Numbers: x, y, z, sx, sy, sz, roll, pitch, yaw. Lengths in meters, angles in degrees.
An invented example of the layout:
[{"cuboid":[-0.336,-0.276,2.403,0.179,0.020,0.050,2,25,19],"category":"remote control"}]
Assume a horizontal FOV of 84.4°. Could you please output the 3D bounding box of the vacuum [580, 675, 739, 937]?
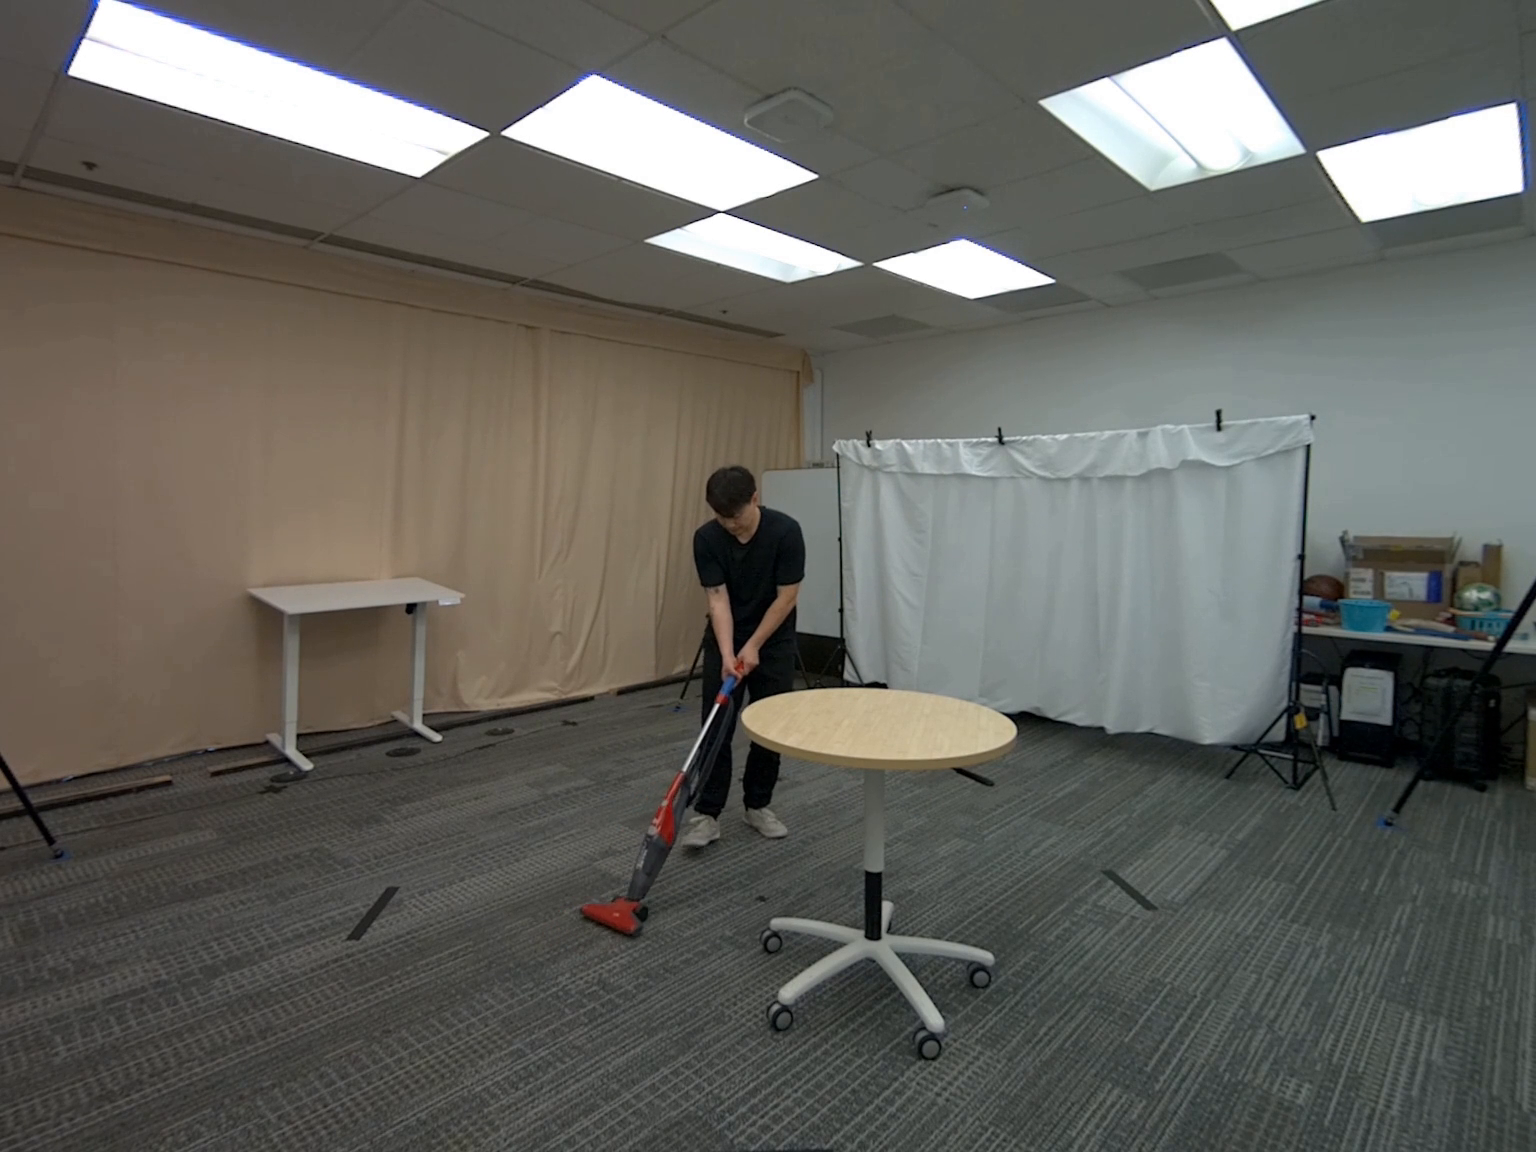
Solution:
[{"cuboid":[-0.299,0.753,3.077,0.260,1.050,0.139,6,-37,32],"category":"vacuum"}]
